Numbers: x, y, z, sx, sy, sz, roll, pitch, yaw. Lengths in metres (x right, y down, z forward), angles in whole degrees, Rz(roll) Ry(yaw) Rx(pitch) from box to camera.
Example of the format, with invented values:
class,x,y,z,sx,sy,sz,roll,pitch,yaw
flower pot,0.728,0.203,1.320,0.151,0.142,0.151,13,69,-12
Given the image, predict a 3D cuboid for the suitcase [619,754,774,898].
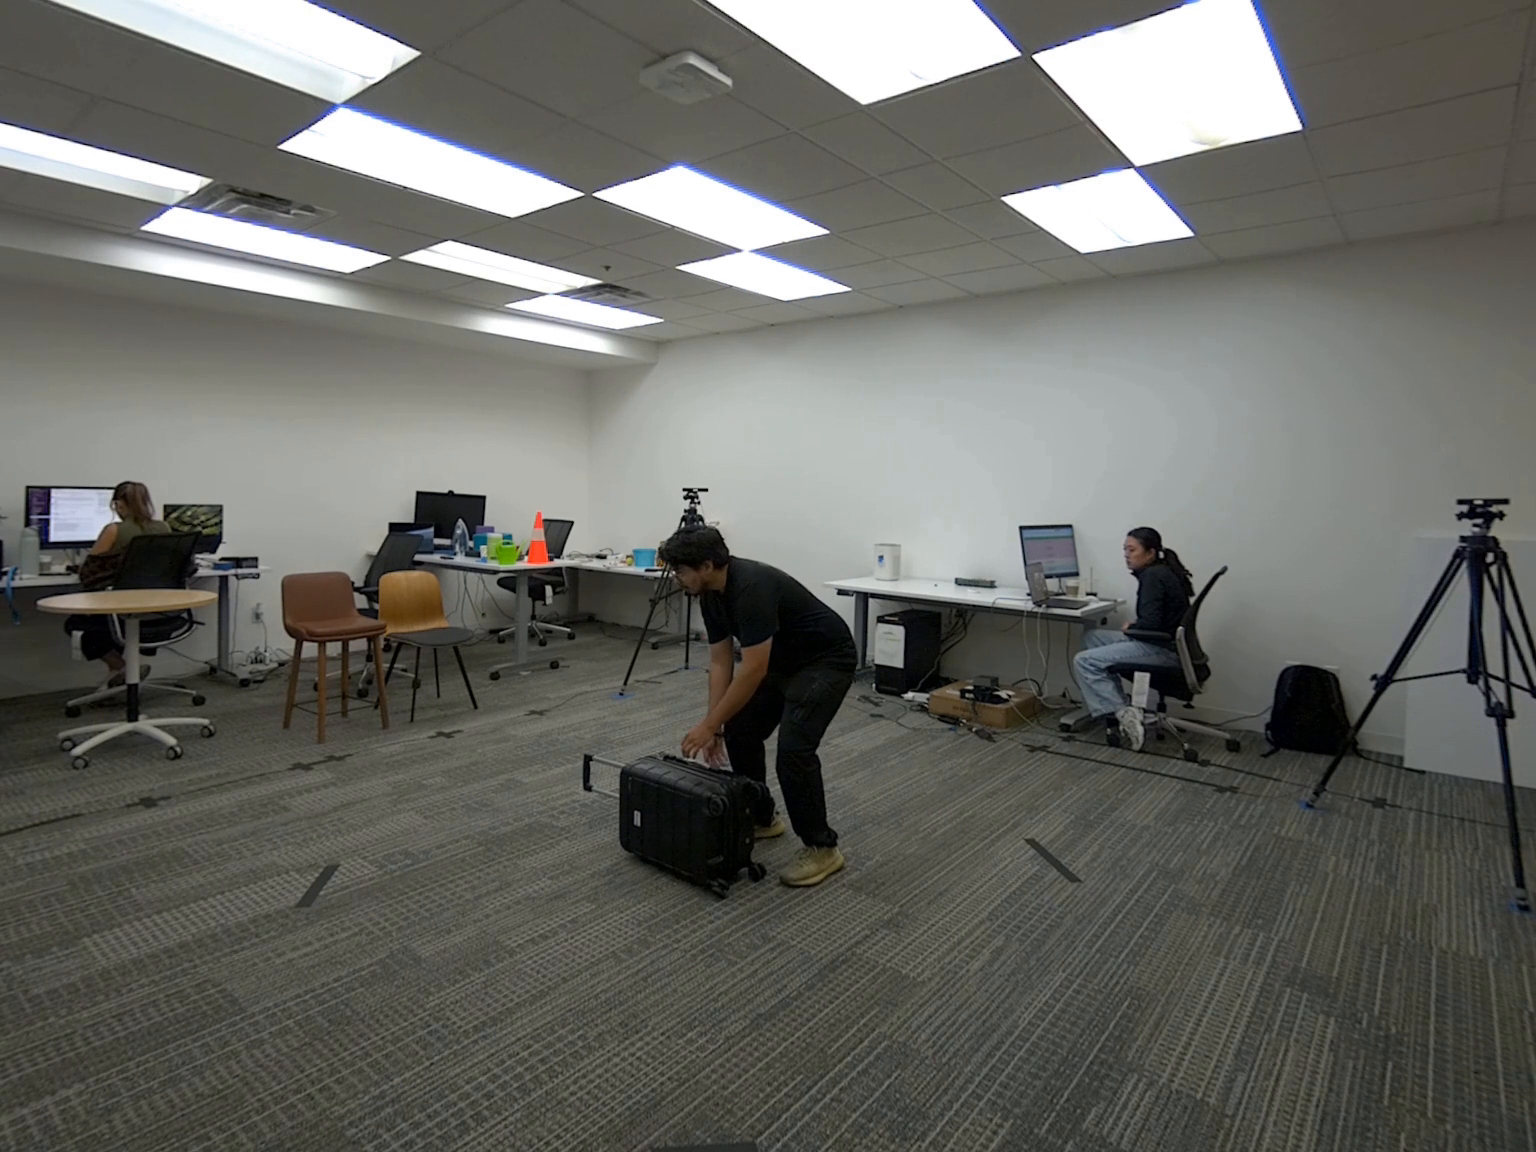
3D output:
class,x,y,z,sx,sy,sz,roll,pitch,yaw
suitcase,-0.477,0.867,3.251,1.011,0.383,0.249,5,5,40
